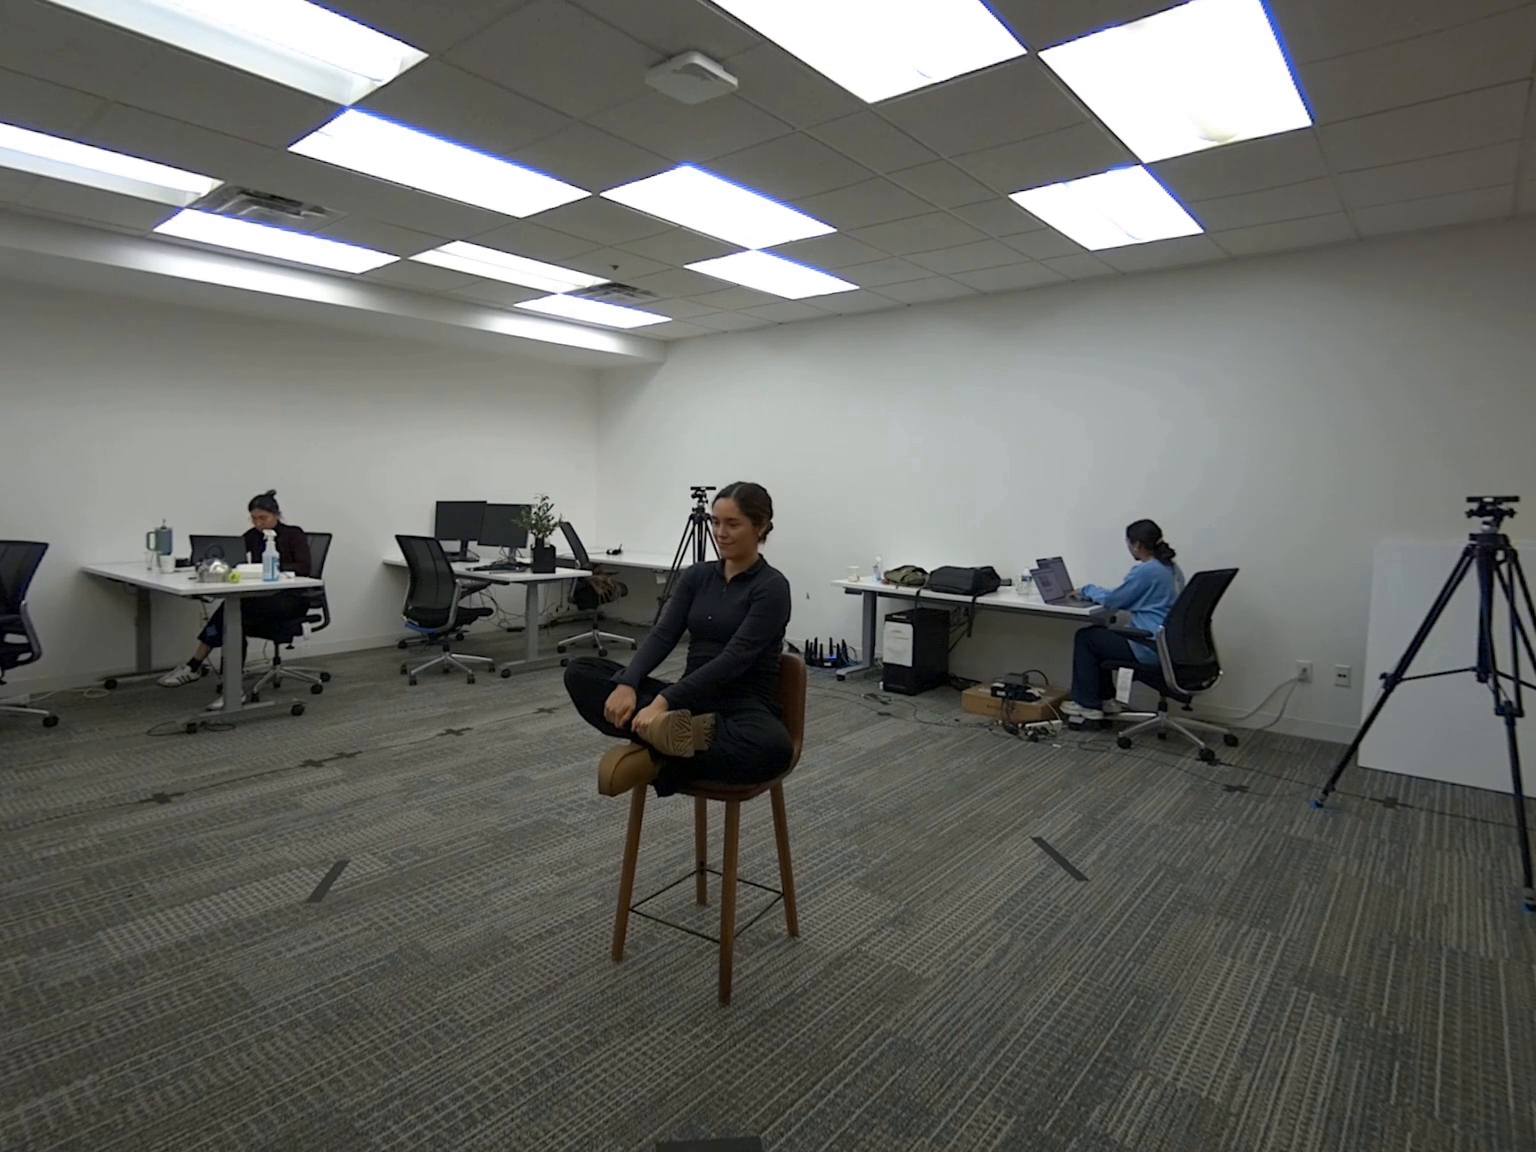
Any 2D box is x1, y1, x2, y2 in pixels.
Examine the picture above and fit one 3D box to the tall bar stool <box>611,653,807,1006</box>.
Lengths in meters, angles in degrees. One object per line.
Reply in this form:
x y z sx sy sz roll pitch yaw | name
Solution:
-0.168 0.687 2.557 0.470 0.888 0.454 3 2 32 | tall bar stool
